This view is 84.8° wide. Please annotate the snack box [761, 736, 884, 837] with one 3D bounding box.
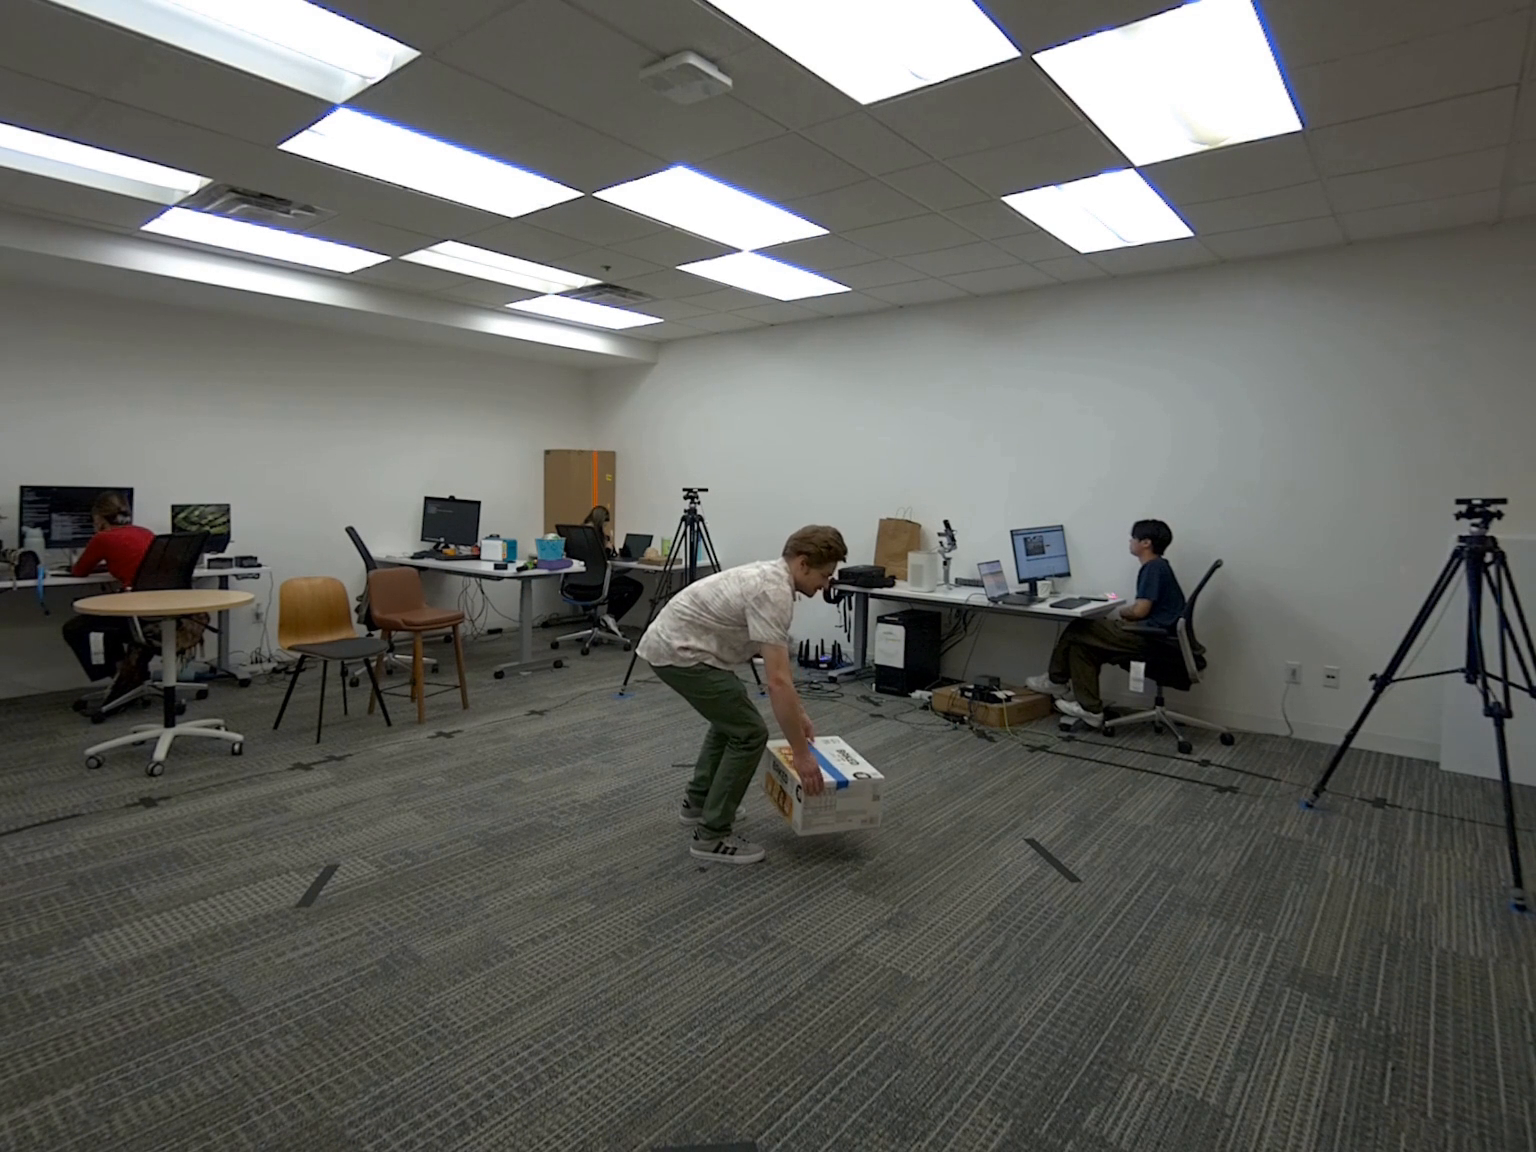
[{"bbox_3d":[0.196,0.810,3.329,0.333,0.204,0.417,0,12,-20],"label":"snack box"}]
